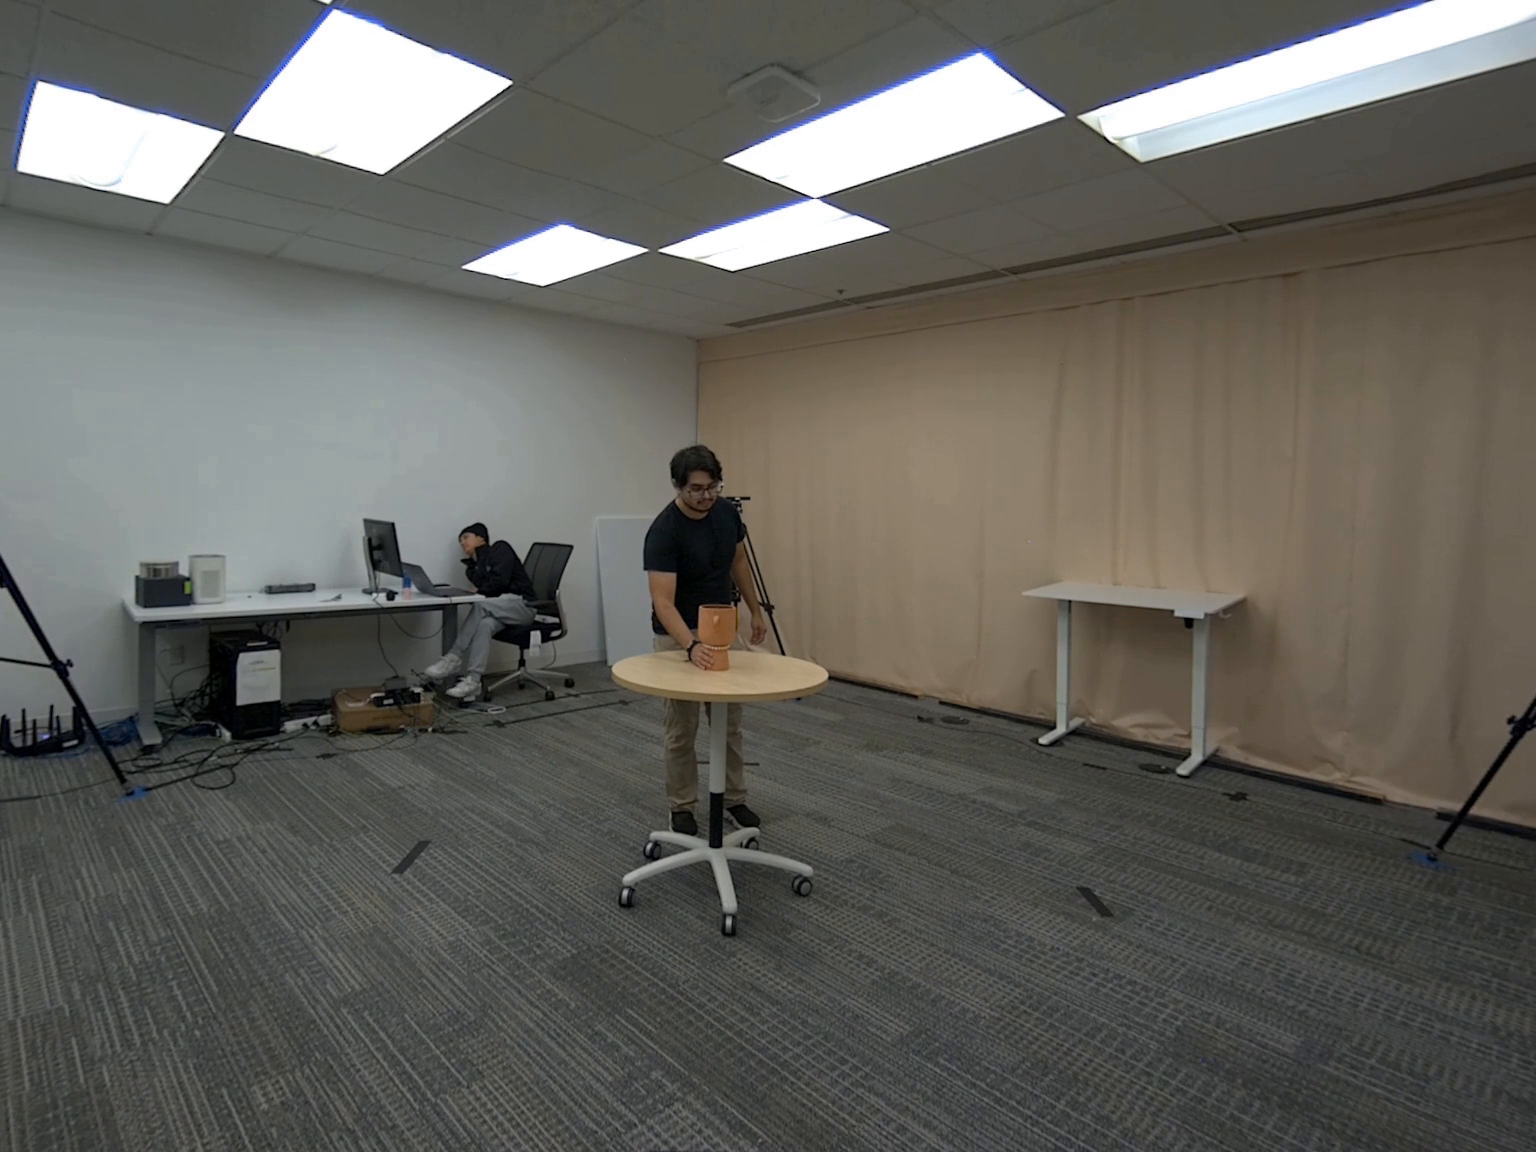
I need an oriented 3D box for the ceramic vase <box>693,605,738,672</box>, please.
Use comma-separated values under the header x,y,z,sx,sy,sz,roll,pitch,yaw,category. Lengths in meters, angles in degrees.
x,y,z,sx,sy,sz,roll,pitch,yaw,category
-0.197,0.221,2.999,0.138,0.219,0.155,5,5,40,ceramic vase
